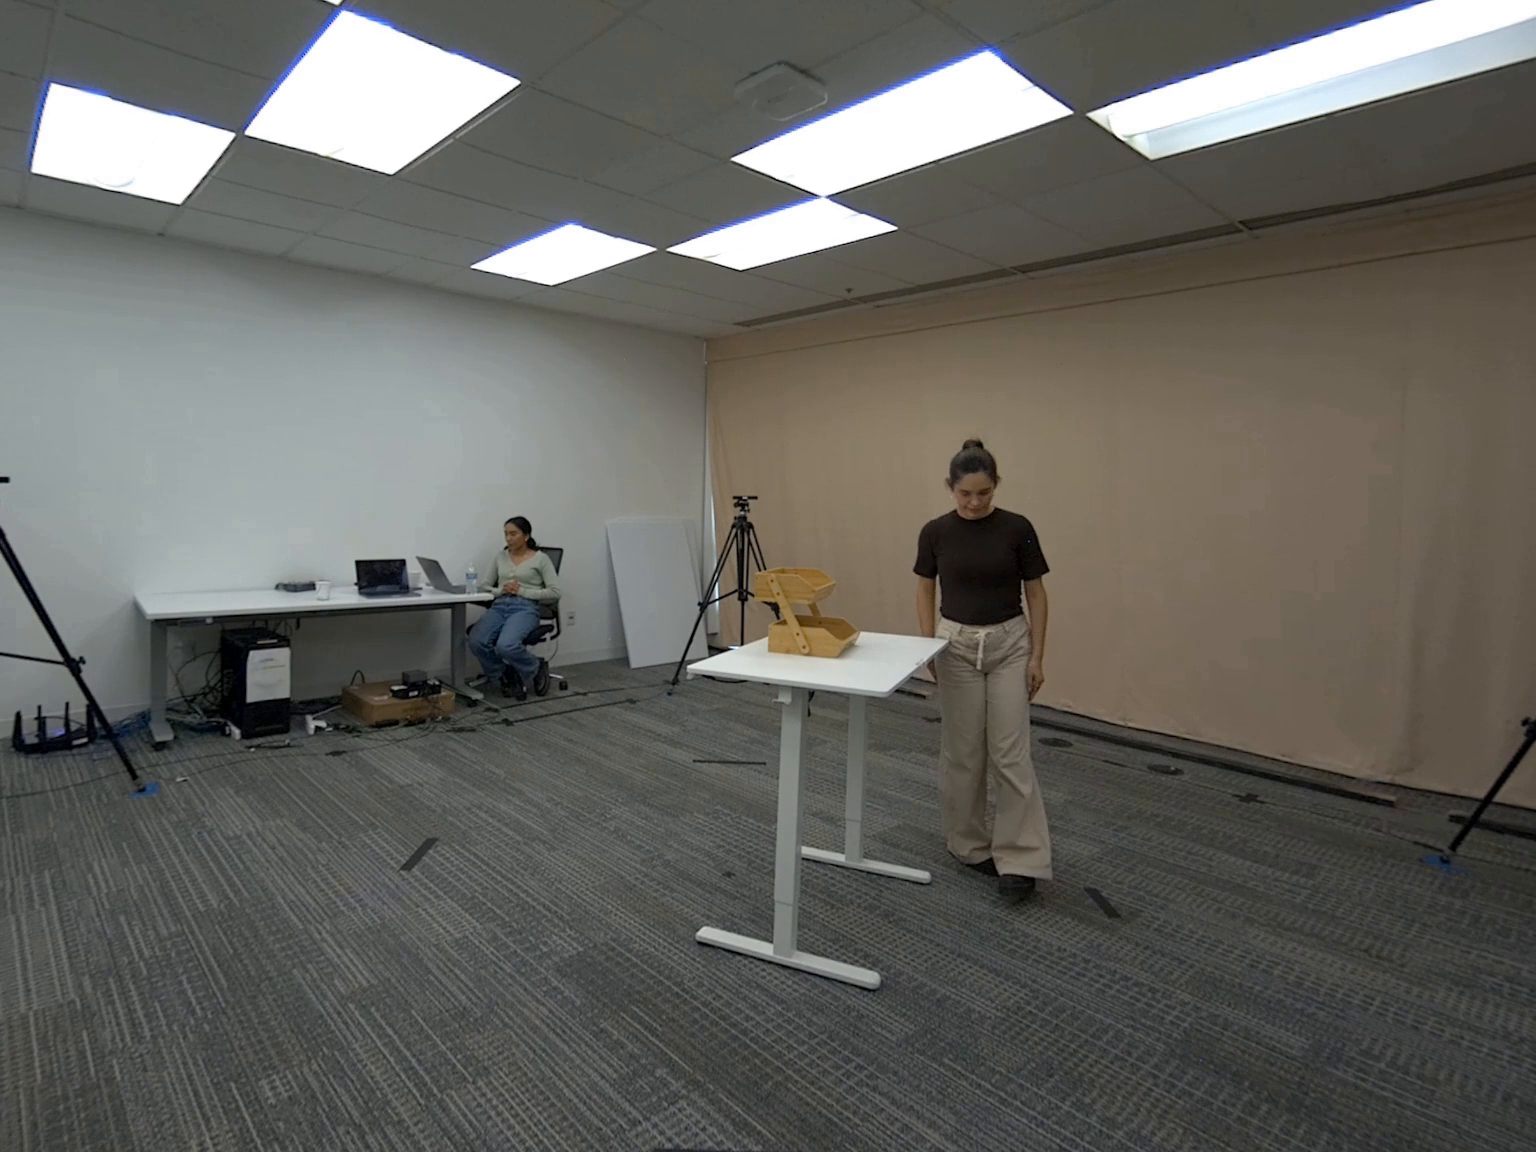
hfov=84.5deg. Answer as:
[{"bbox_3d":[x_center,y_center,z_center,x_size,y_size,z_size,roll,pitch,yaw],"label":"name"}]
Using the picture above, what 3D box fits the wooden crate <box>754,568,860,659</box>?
[{"bbox_3d":[0.142,0.115,2.881,0.306,0.273,0.320,3,4,17],"label":"wooden crate"}]
